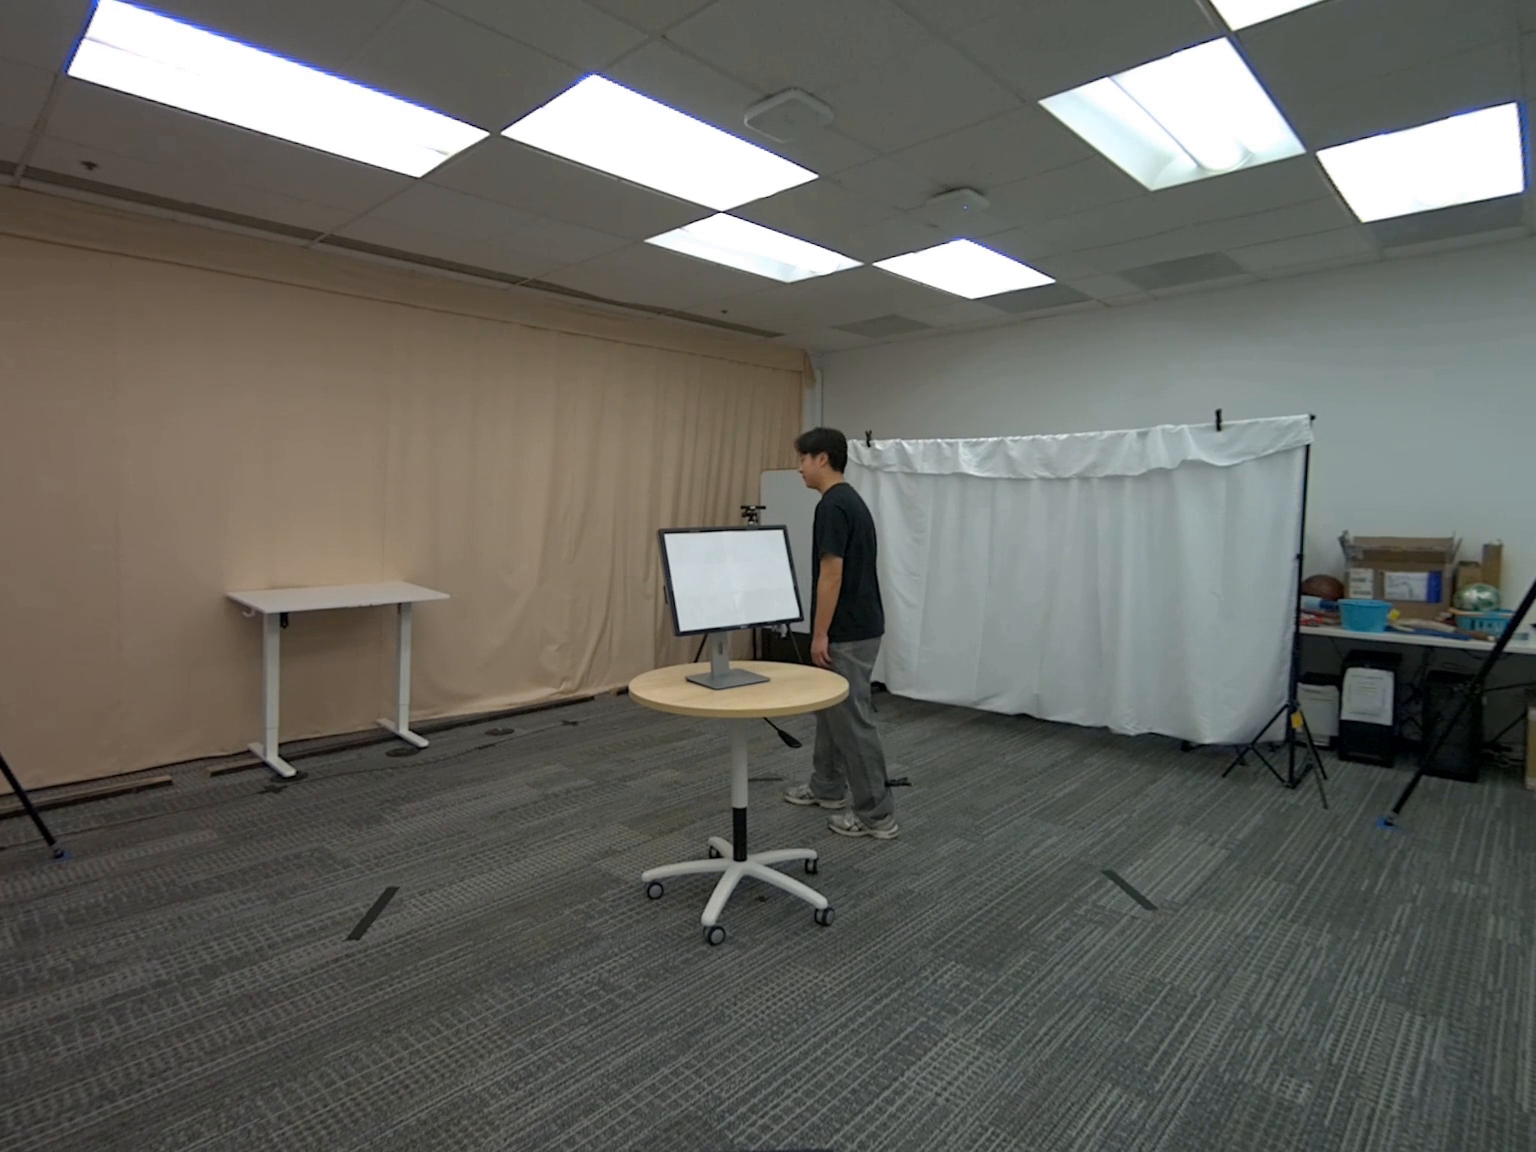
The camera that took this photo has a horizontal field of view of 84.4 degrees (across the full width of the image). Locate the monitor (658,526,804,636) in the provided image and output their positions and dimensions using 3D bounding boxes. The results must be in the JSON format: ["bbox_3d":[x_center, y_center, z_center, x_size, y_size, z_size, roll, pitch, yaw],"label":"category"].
[{"bbox_3d":[-0.139,0.110,2.953,0.546,0.564,0.229,-4,6,-35],"label":"monitor"}]
